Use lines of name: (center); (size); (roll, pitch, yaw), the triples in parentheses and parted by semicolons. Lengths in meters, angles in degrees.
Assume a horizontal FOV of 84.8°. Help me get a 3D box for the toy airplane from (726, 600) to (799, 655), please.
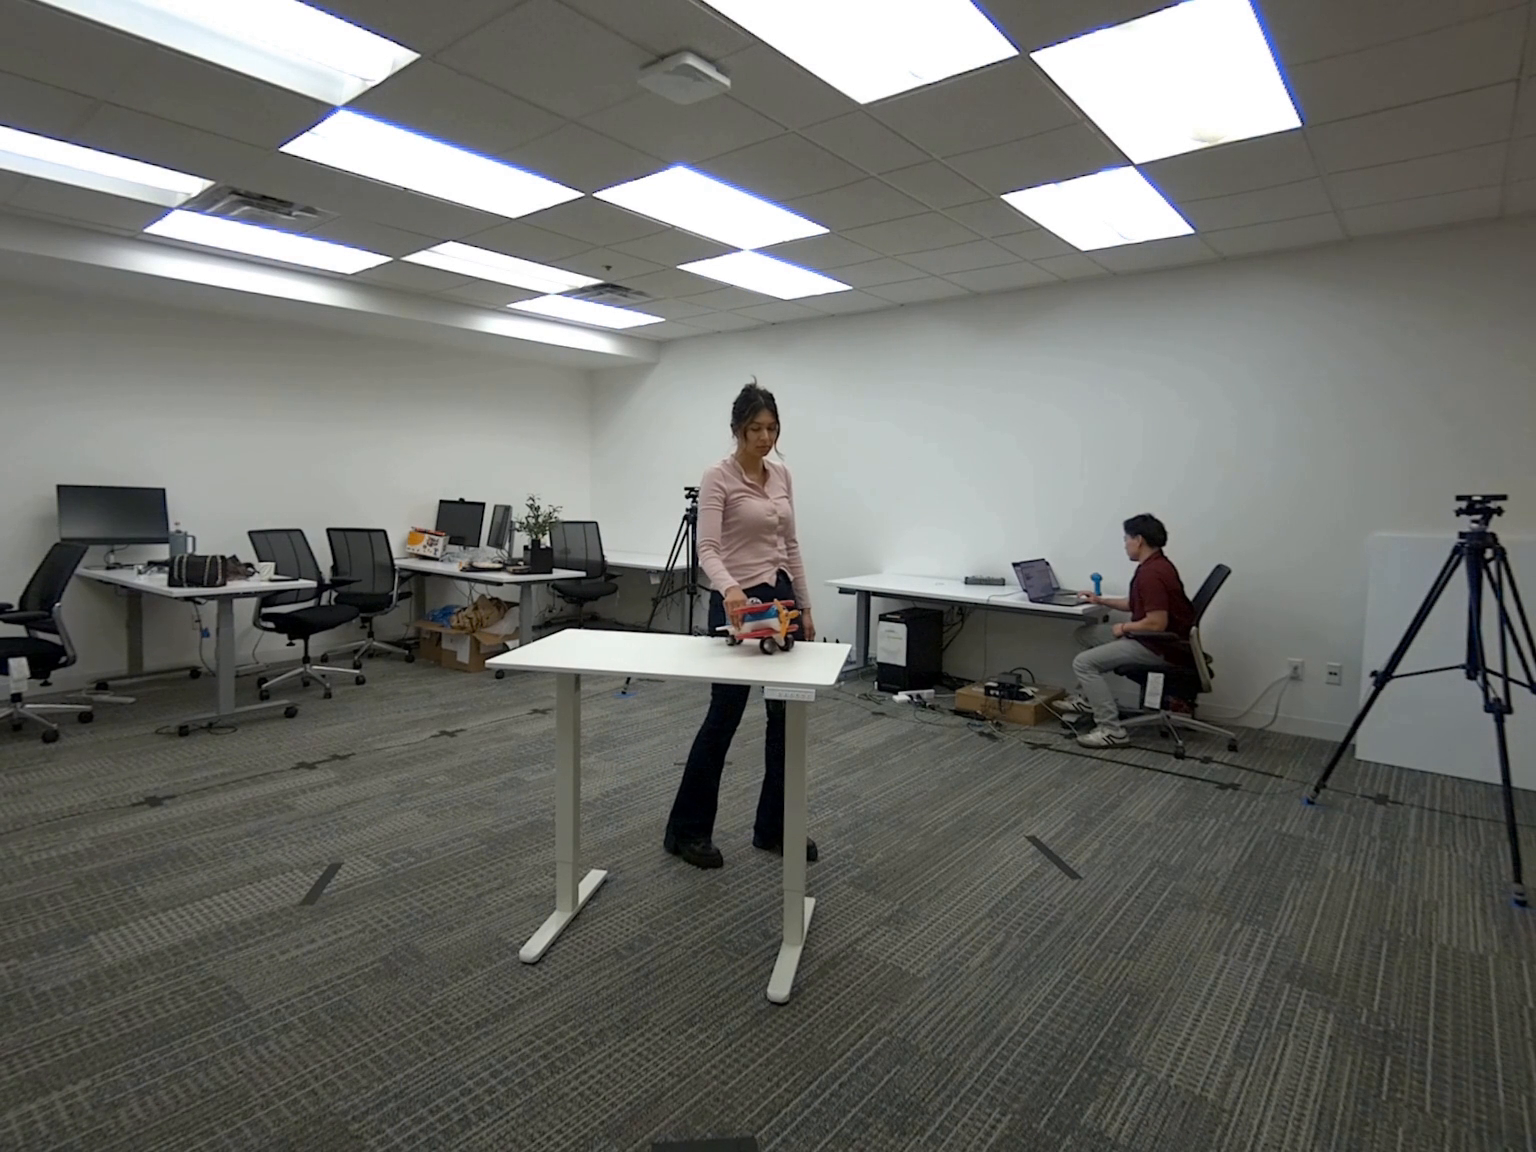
toy airplane: (-0.045, 0.152, 2.678); (0.263, 0.156, 0.248); (2, 4, 13)
